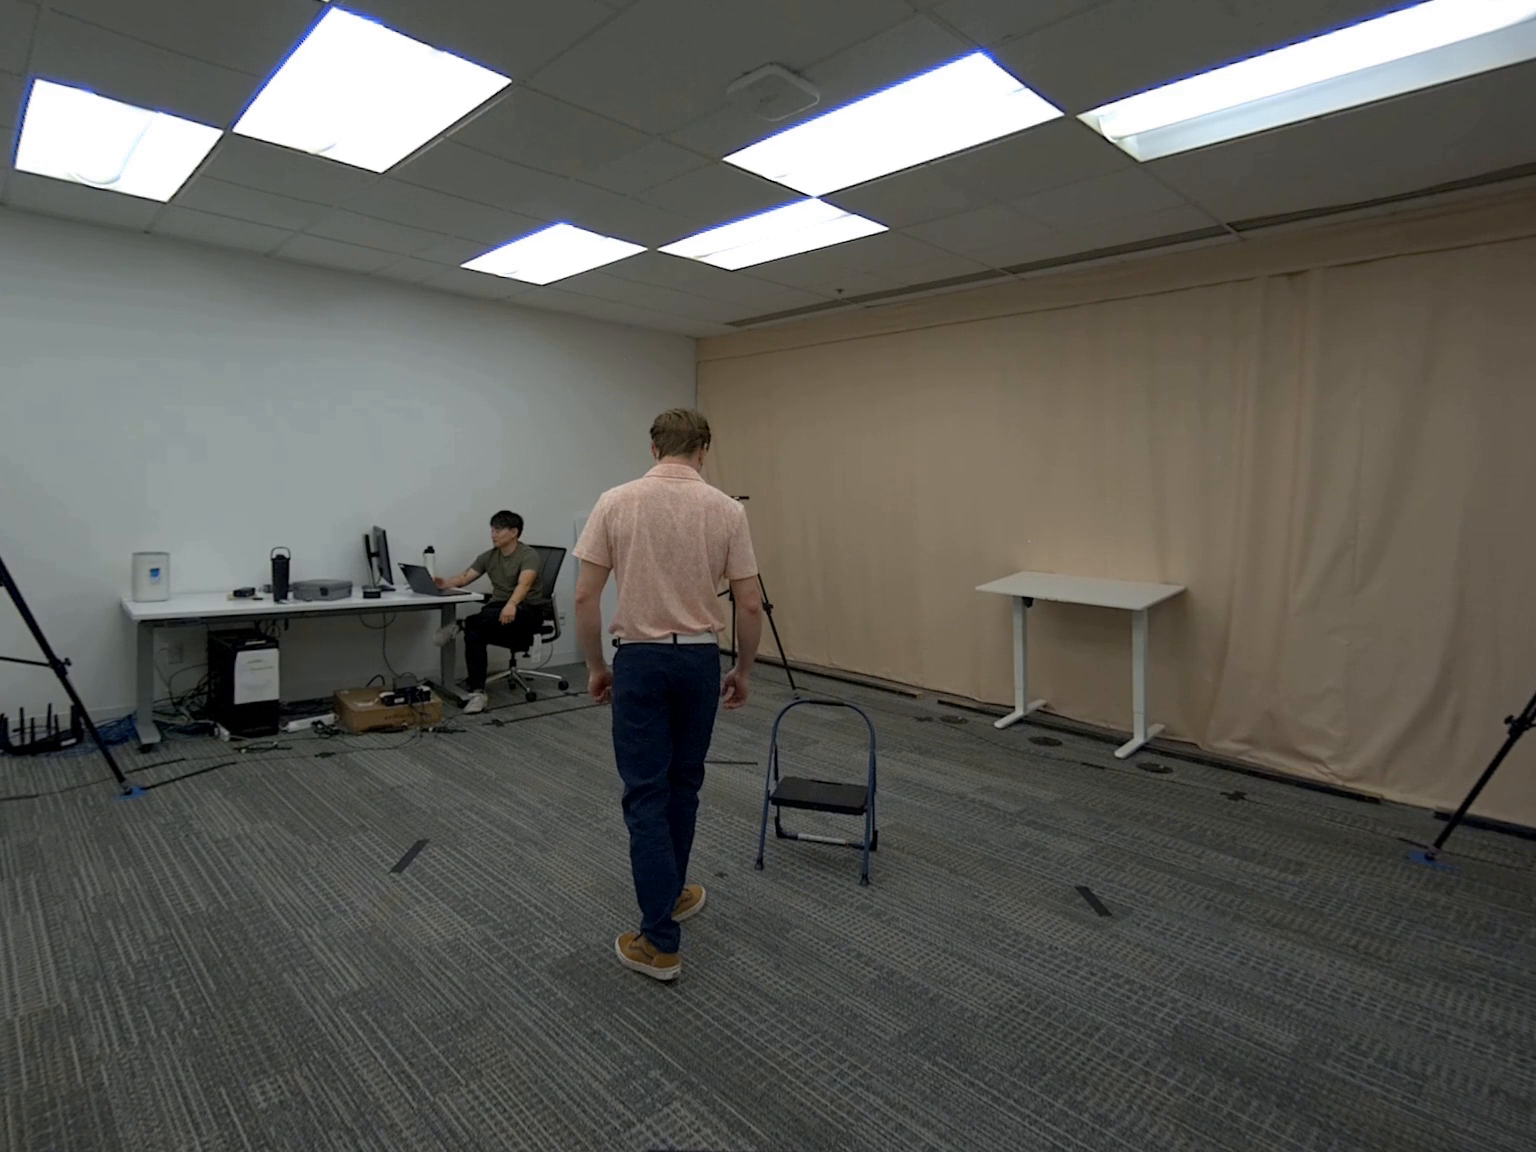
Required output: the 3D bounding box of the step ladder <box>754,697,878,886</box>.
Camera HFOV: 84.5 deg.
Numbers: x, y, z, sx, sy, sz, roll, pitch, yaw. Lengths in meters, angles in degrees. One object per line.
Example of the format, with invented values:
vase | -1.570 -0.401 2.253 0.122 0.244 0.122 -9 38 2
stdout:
step ladder | 0.200 0.795 3.251 0.436 0.605 0.346 3 3 15
